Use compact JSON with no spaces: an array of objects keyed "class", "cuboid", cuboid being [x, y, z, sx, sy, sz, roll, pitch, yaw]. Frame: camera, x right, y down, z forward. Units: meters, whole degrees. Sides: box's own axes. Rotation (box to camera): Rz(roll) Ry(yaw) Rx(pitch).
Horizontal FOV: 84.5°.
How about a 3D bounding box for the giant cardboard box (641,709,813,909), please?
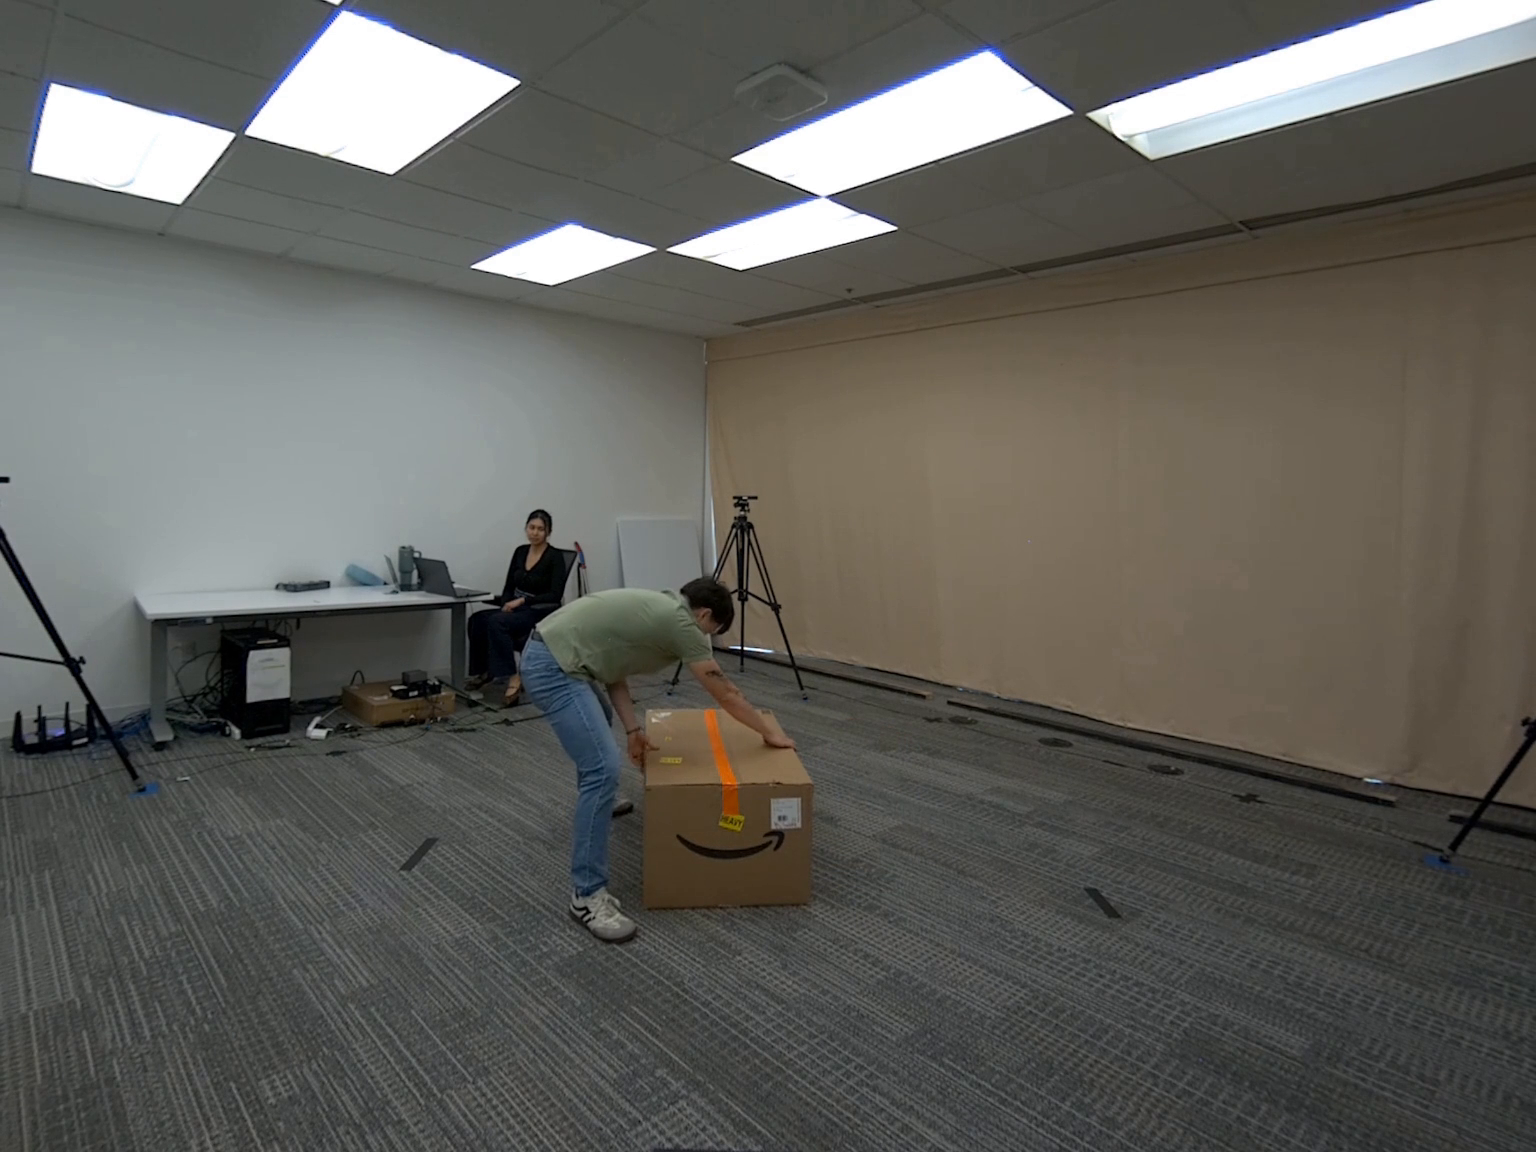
[{"class":"giant cardboard box","cuboid":[-0.200,0.862,3.352,0.574,0.425,1.034,0,5,-7]}]
